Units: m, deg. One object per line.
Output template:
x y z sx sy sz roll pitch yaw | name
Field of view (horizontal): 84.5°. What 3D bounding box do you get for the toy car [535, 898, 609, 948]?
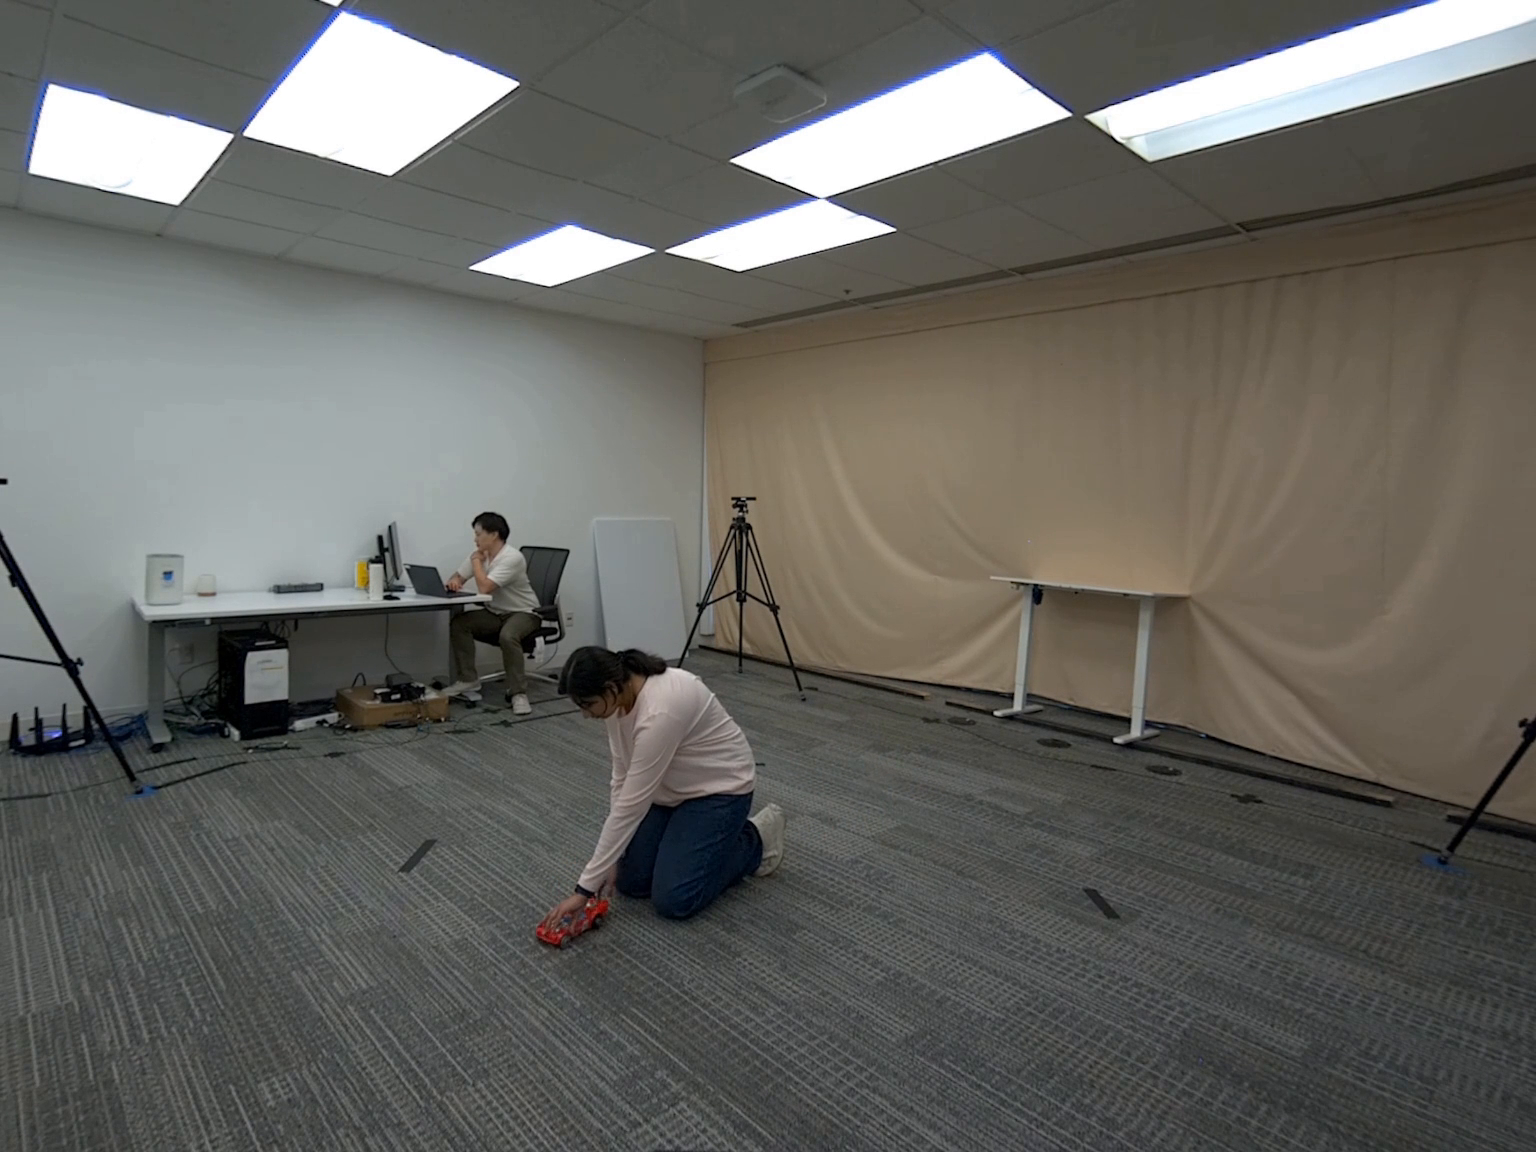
-0.630 1.106 2.685 0.133 0.082 0.251 3 17 32 | toy car
